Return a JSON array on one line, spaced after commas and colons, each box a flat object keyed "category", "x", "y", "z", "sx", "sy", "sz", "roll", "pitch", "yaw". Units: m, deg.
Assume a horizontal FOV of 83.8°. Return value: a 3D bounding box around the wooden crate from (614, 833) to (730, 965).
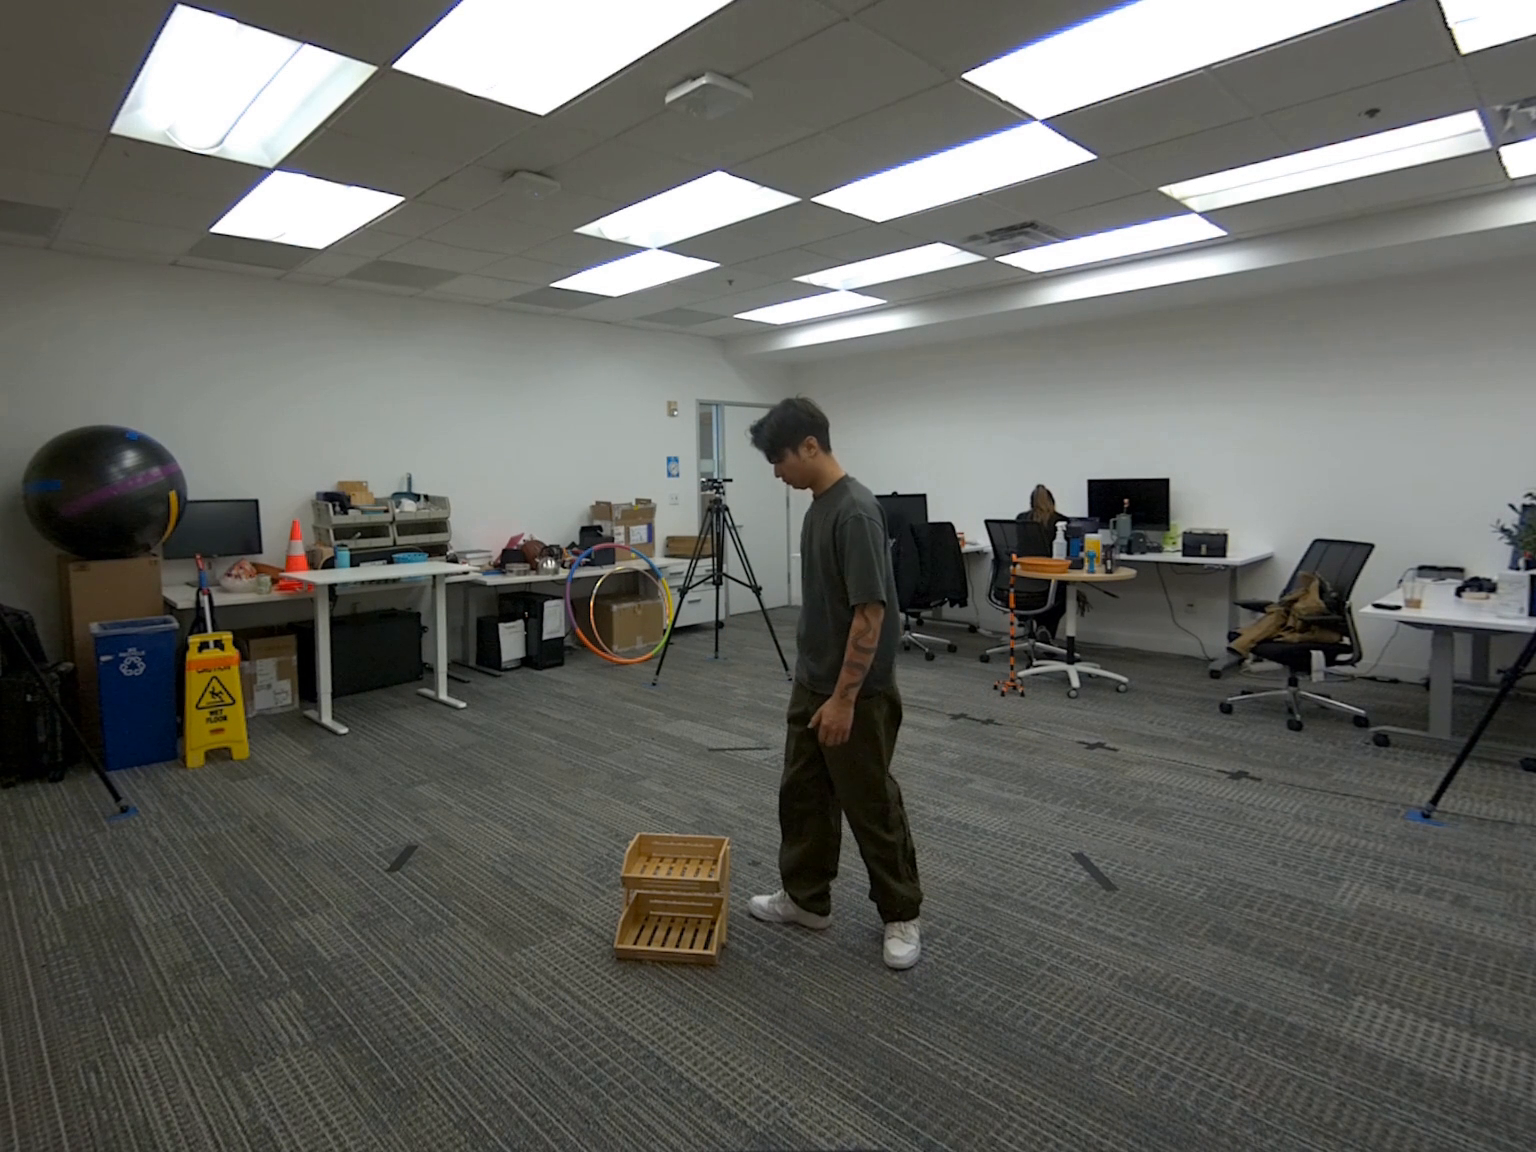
[{"category": "wooden crate", "x": -0.281, "y": 0.974, "z": 2.591, "sx": 0.327, "sy": 0.272, "sz": 0.300, "roll": -1, "pitch": 4, "yaw": 8}]
